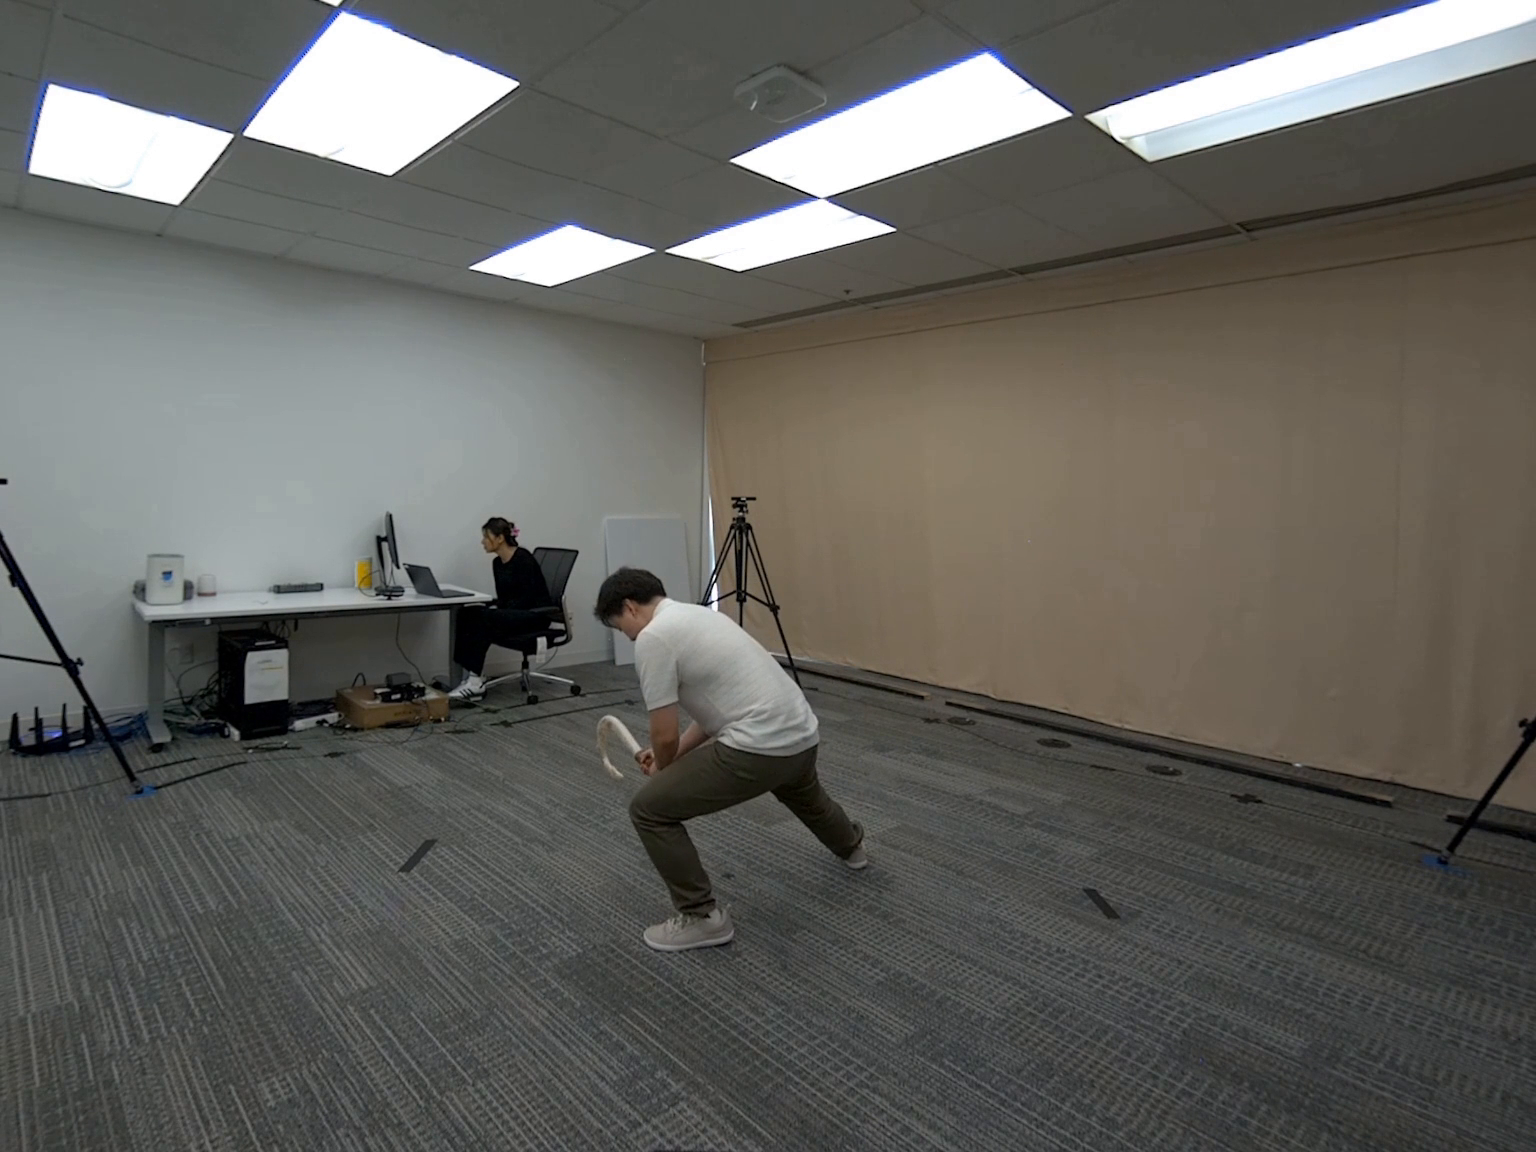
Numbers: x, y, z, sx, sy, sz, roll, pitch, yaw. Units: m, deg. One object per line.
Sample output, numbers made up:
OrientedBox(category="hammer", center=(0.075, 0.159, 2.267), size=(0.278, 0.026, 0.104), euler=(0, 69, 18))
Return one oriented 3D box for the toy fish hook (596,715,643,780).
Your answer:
OrientedBox(category="toy fish hook", center=(-0.494, 0.675, 3.030), size=(0.047, 0.222, 0.522), euler=(-8, 19, -35))
